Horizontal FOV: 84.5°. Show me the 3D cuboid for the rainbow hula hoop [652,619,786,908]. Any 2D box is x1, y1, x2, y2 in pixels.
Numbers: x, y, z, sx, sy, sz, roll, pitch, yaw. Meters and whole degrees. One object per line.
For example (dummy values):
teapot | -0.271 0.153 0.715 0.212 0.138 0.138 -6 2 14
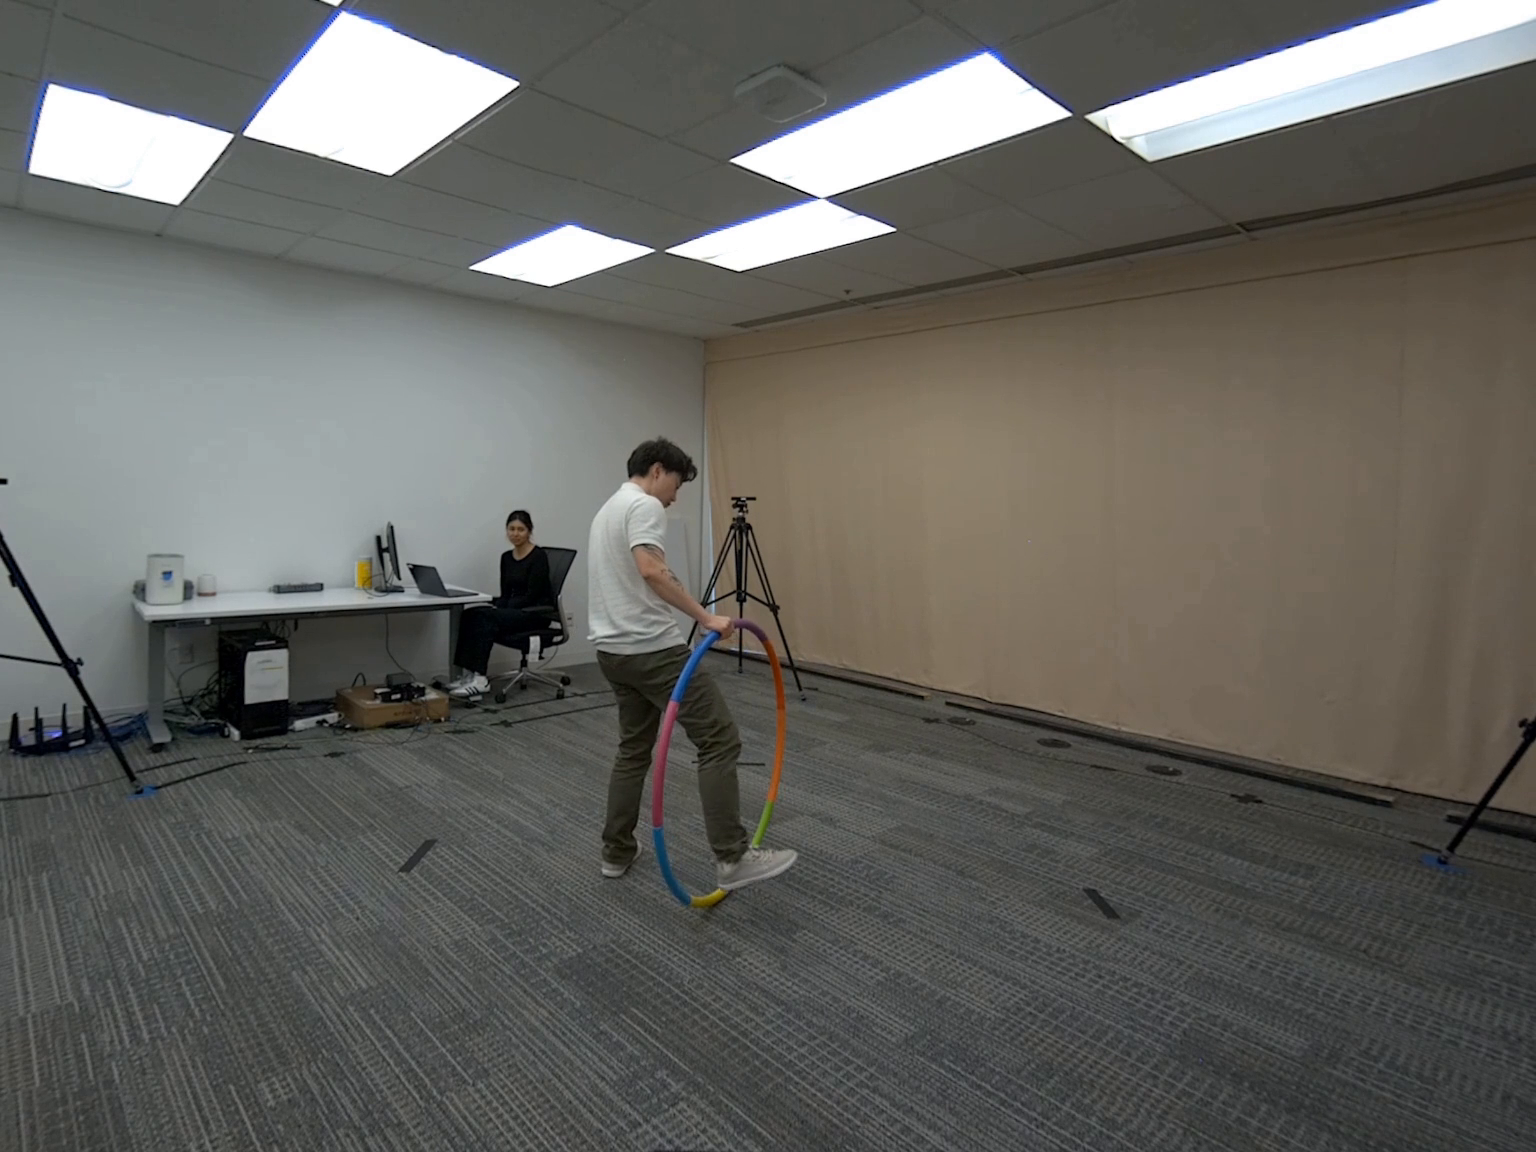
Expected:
rainbow hula hoop | -0.141 0.642 2.938 0.036 0.976 0.963 3 5 23
